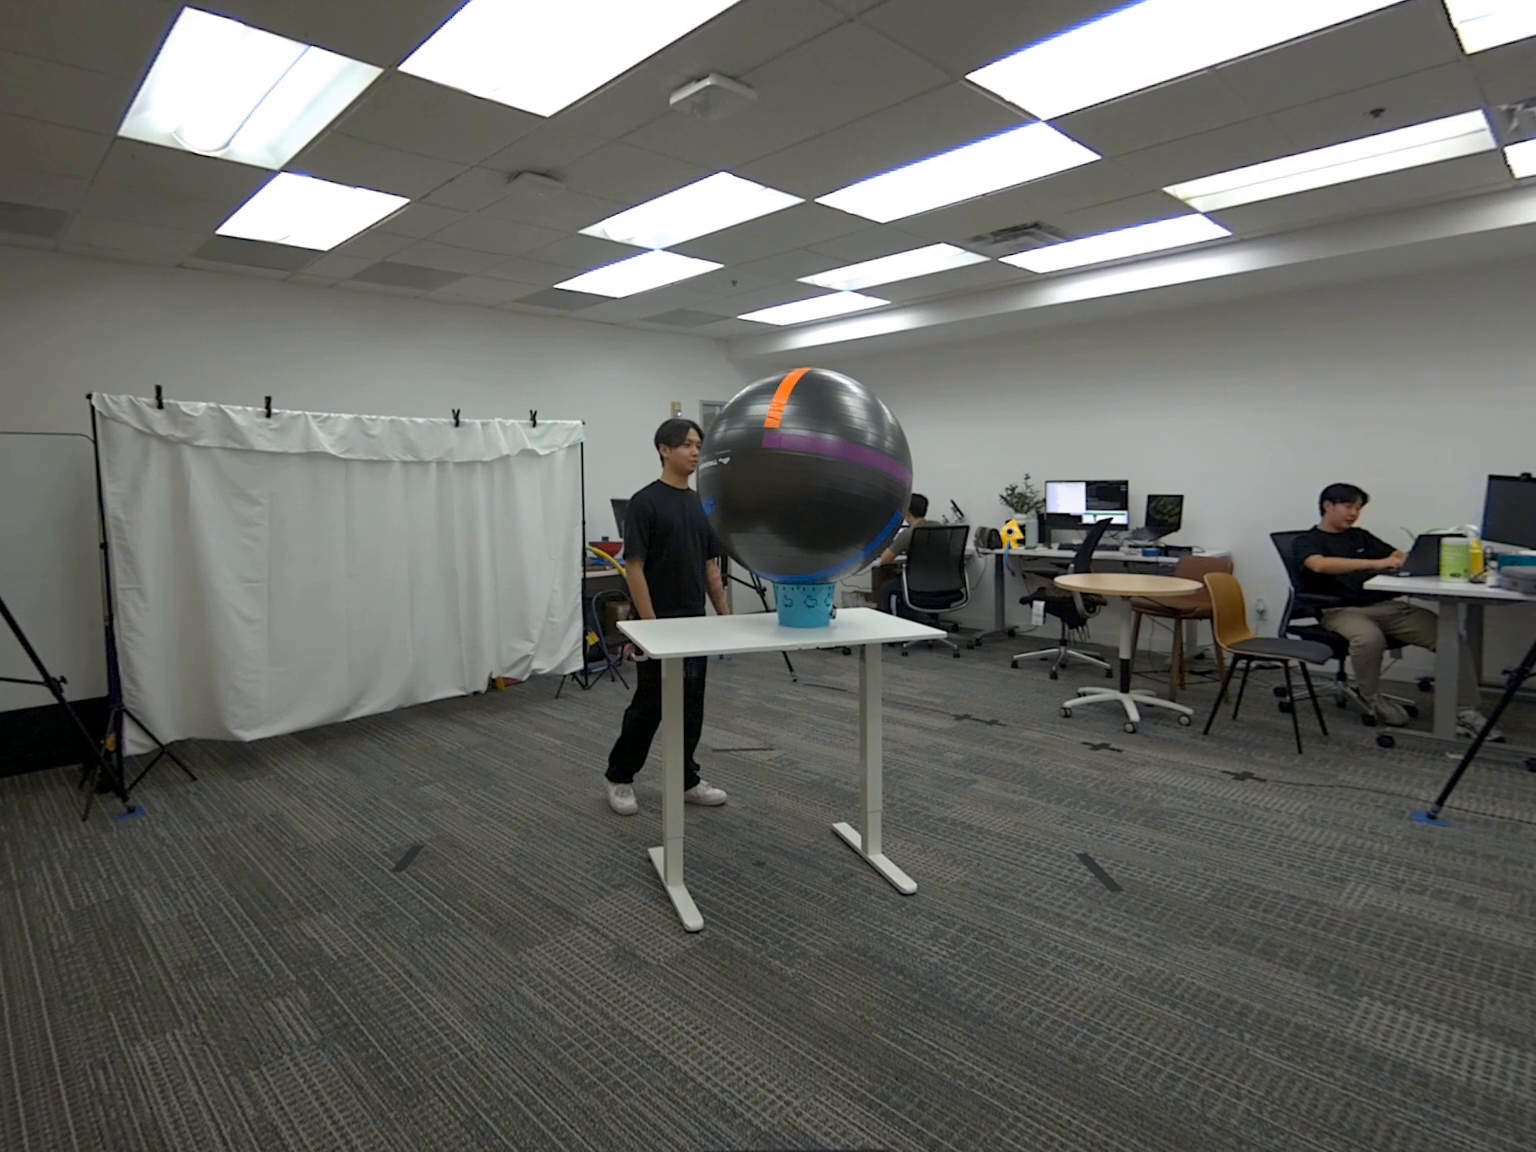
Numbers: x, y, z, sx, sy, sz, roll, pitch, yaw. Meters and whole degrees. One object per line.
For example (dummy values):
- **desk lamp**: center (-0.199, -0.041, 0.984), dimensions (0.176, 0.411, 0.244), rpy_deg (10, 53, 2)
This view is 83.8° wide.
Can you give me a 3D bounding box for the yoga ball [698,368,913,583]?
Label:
- **yoga ball**: center (0.124, -0.344, 3.011), dimensions (0.757, 0.755, 0.762), rpy_deg (-1, 5, -2)
